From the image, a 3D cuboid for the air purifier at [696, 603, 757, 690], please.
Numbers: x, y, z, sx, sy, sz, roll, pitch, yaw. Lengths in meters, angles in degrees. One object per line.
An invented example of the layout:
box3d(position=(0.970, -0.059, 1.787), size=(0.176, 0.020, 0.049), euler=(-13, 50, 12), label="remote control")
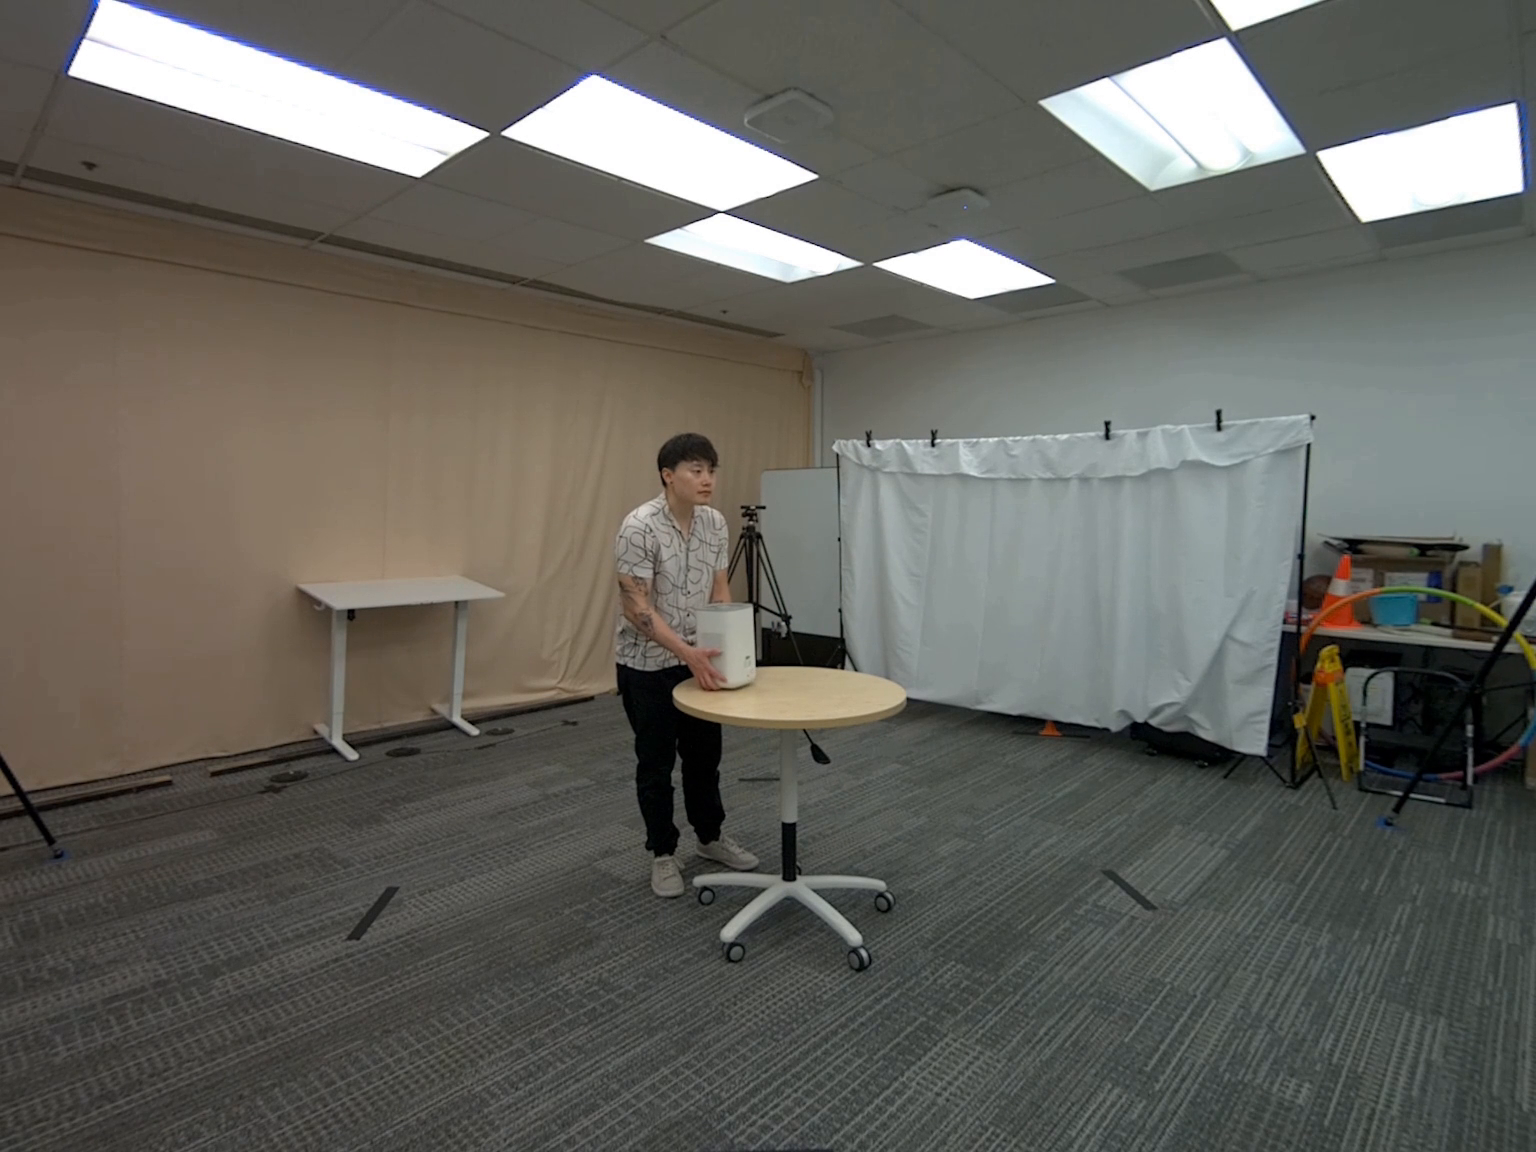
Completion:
box3d(position=(-0.139, 0.236, 2.847), size=(0.176, 0.264, 0.166), euler=(2, 5, 30), label="air purifier")
